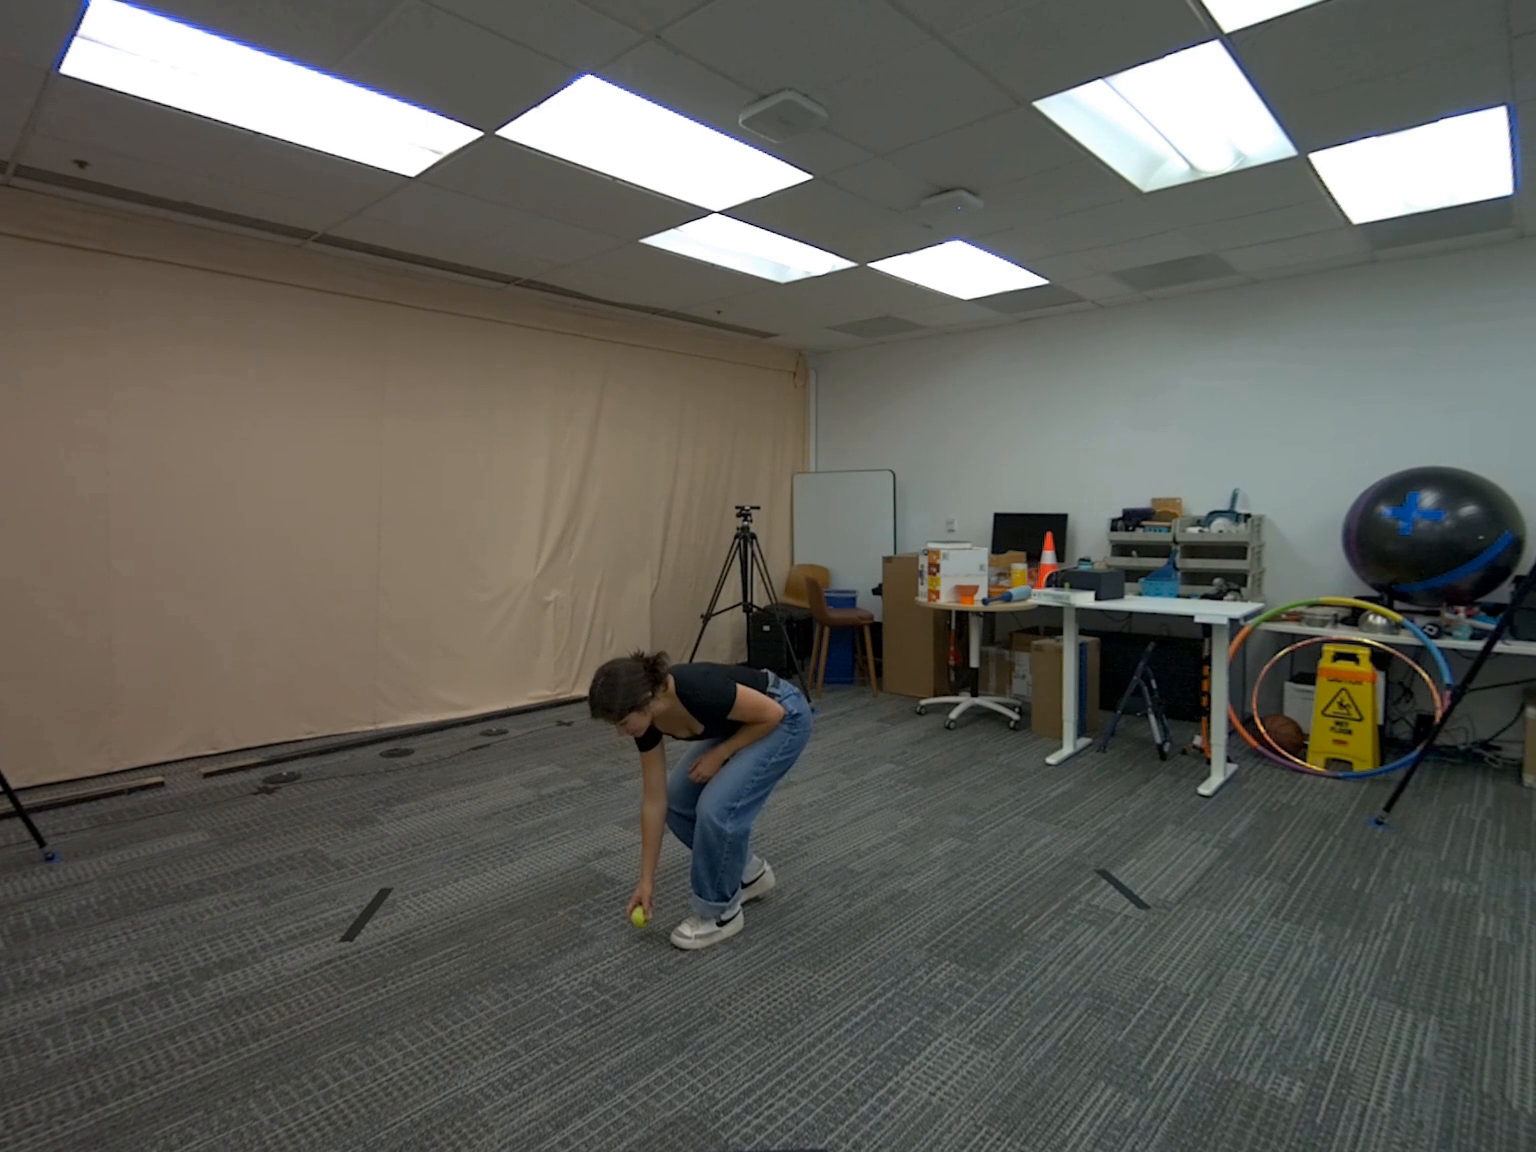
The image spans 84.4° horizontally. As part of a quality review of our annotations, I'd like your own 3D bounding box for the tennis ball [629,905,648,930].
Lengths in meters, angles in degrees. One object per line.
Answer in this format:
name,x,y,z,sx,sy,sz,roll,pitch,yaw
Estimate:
tennis ball,-0.403,1.093,2.718,0.066,0.066,0.067,0,4,-2
